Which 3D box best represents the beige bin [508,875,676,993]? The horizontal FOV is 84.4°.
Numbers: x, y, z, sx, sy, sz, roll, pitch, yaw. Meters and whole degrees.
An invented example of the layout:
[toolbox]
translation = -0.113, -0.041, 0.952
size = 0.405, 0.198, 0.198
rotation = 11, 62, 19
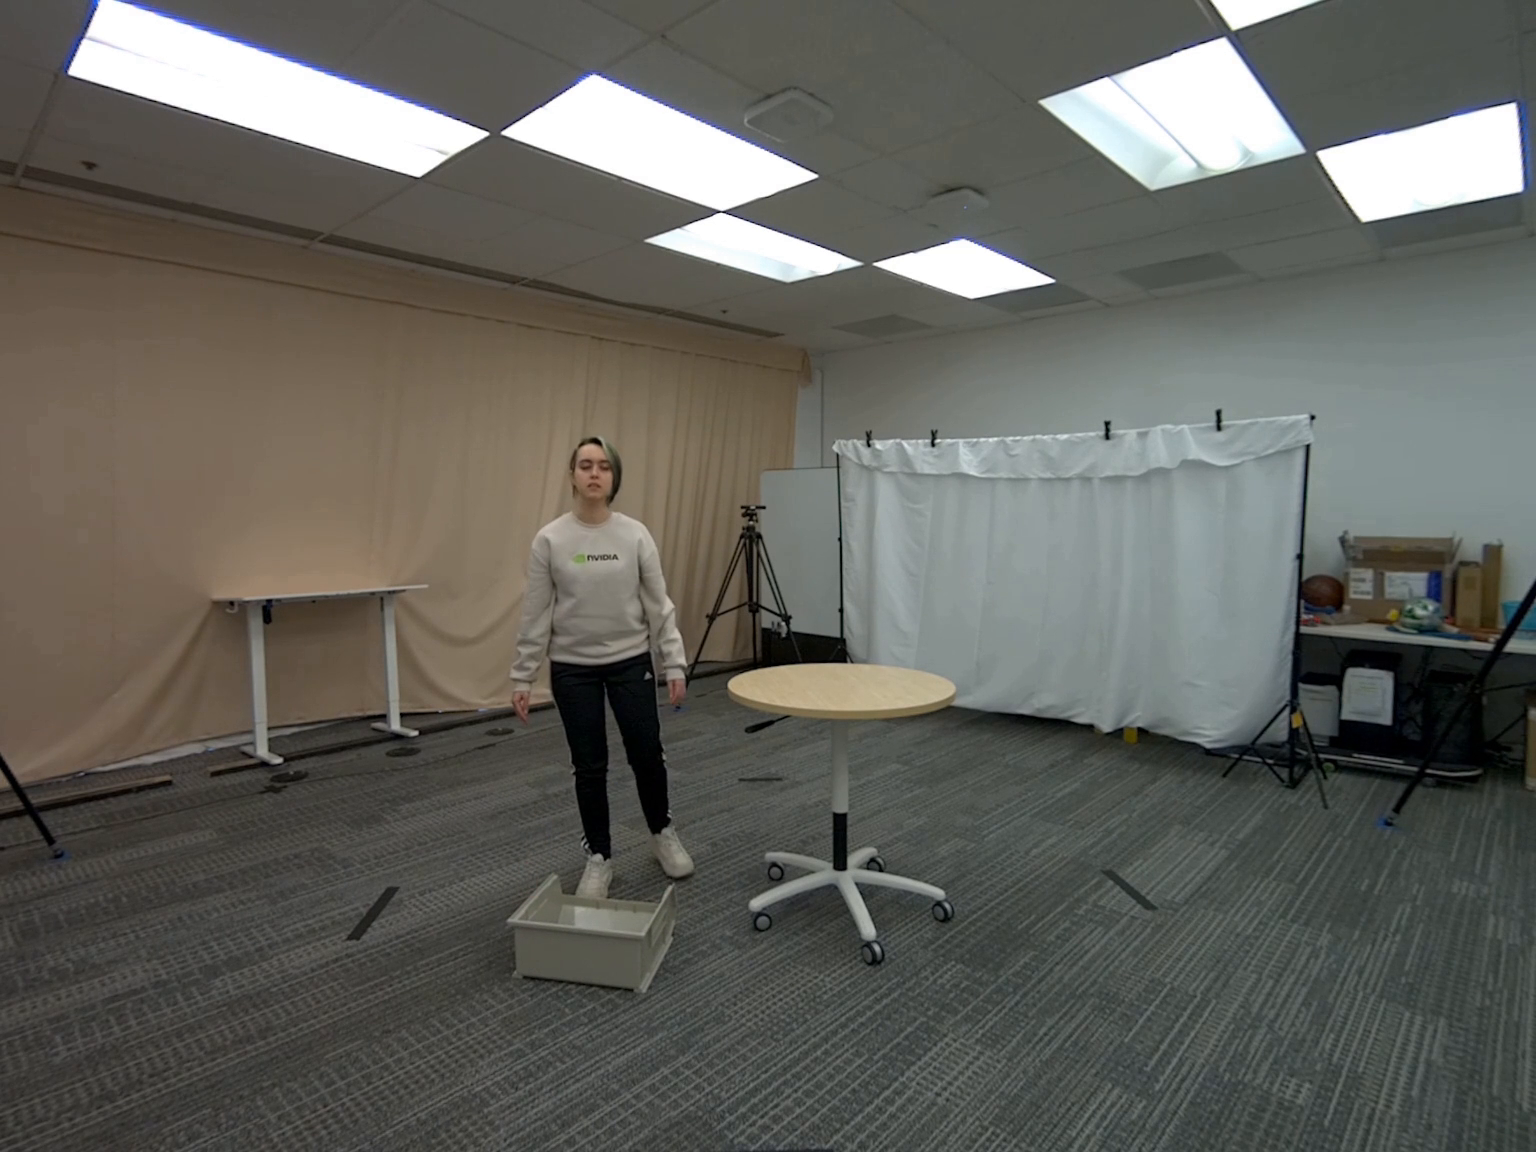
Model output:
[beige bin]
translation = -0.529, 1.092, 2.608
size = 0.427, 0.188, 0.374
rotation = 0, 5, 10
